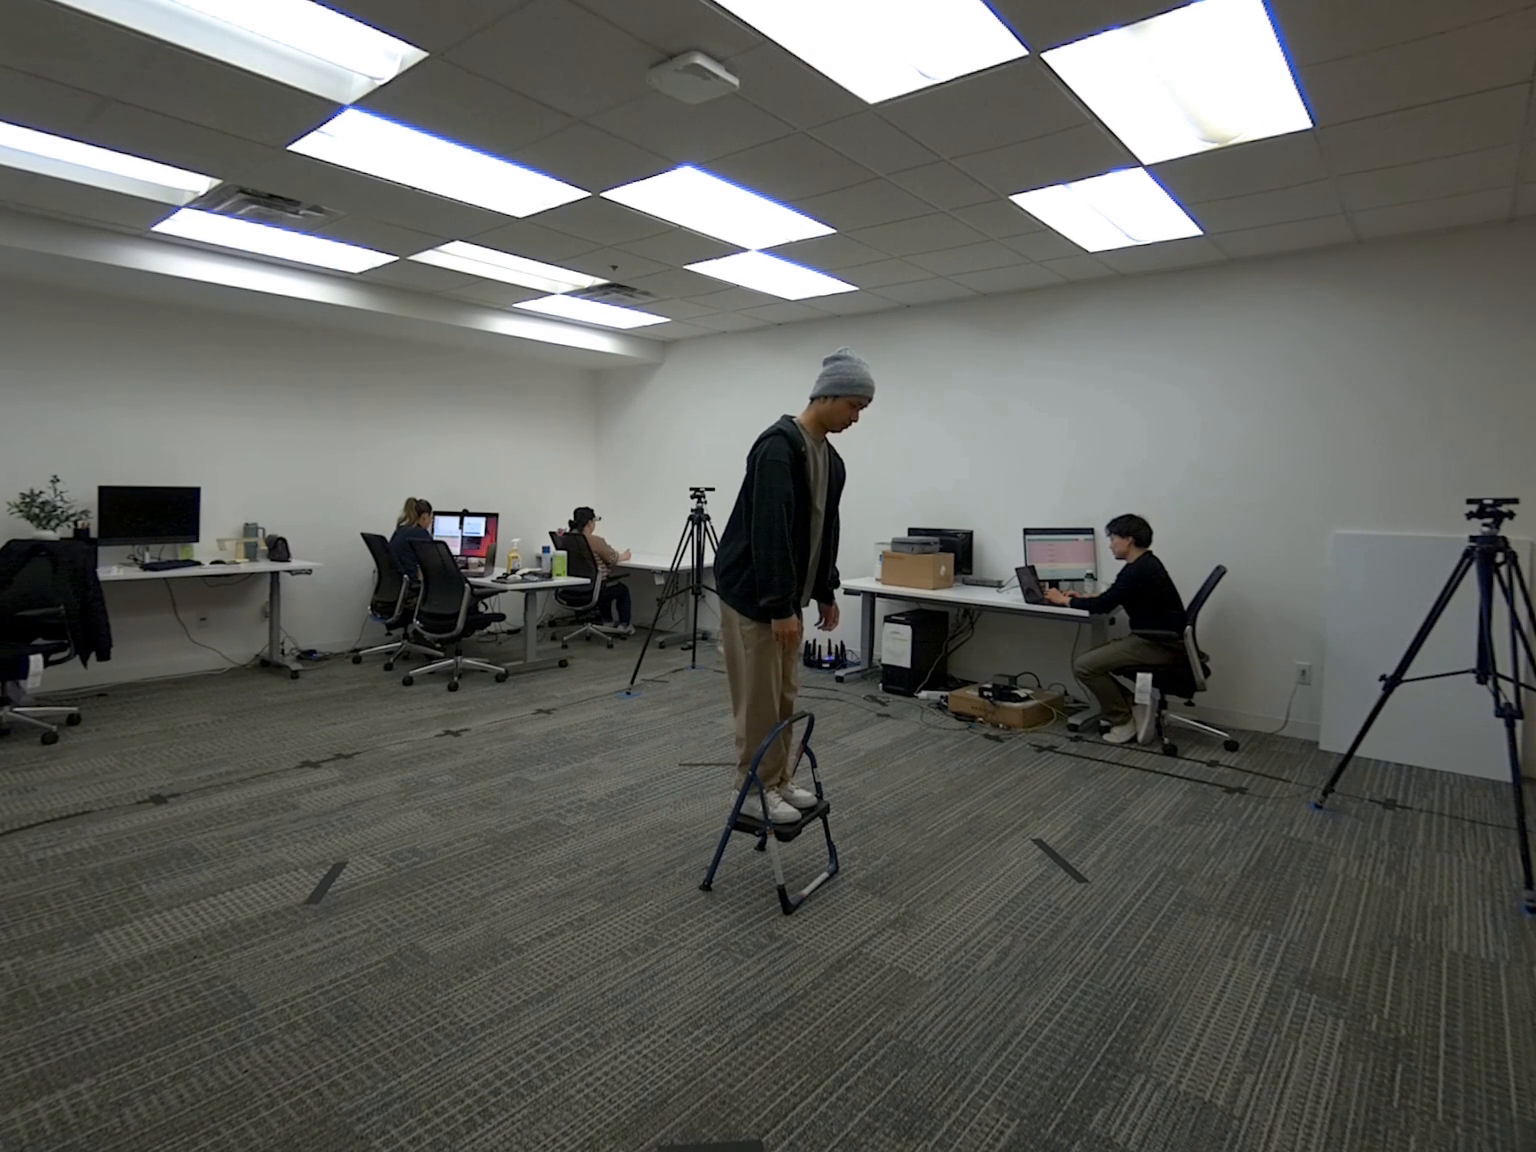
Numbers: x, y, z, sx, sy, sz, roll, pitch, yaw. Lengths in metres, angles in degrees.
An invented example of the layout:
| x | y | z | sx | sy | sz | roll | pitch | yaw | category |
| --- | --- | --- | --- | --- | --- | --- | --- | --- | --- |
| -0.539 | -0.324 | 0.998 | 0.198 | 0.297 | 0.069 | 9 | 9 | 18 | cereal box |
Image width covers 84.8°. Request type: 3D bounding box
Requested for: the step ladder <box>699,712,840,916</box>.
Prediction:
| x | y | z | sx | sy | sz | roll | pitch | yaw | category |
| --- | --- | --- | --- | --- | --- | --- | --- | --- | --- |
| 0.015 | 0.778 | 3.016 | 0.359 | 0.604 | 0.419 | 4 | 4 | 29 | step ladder |
